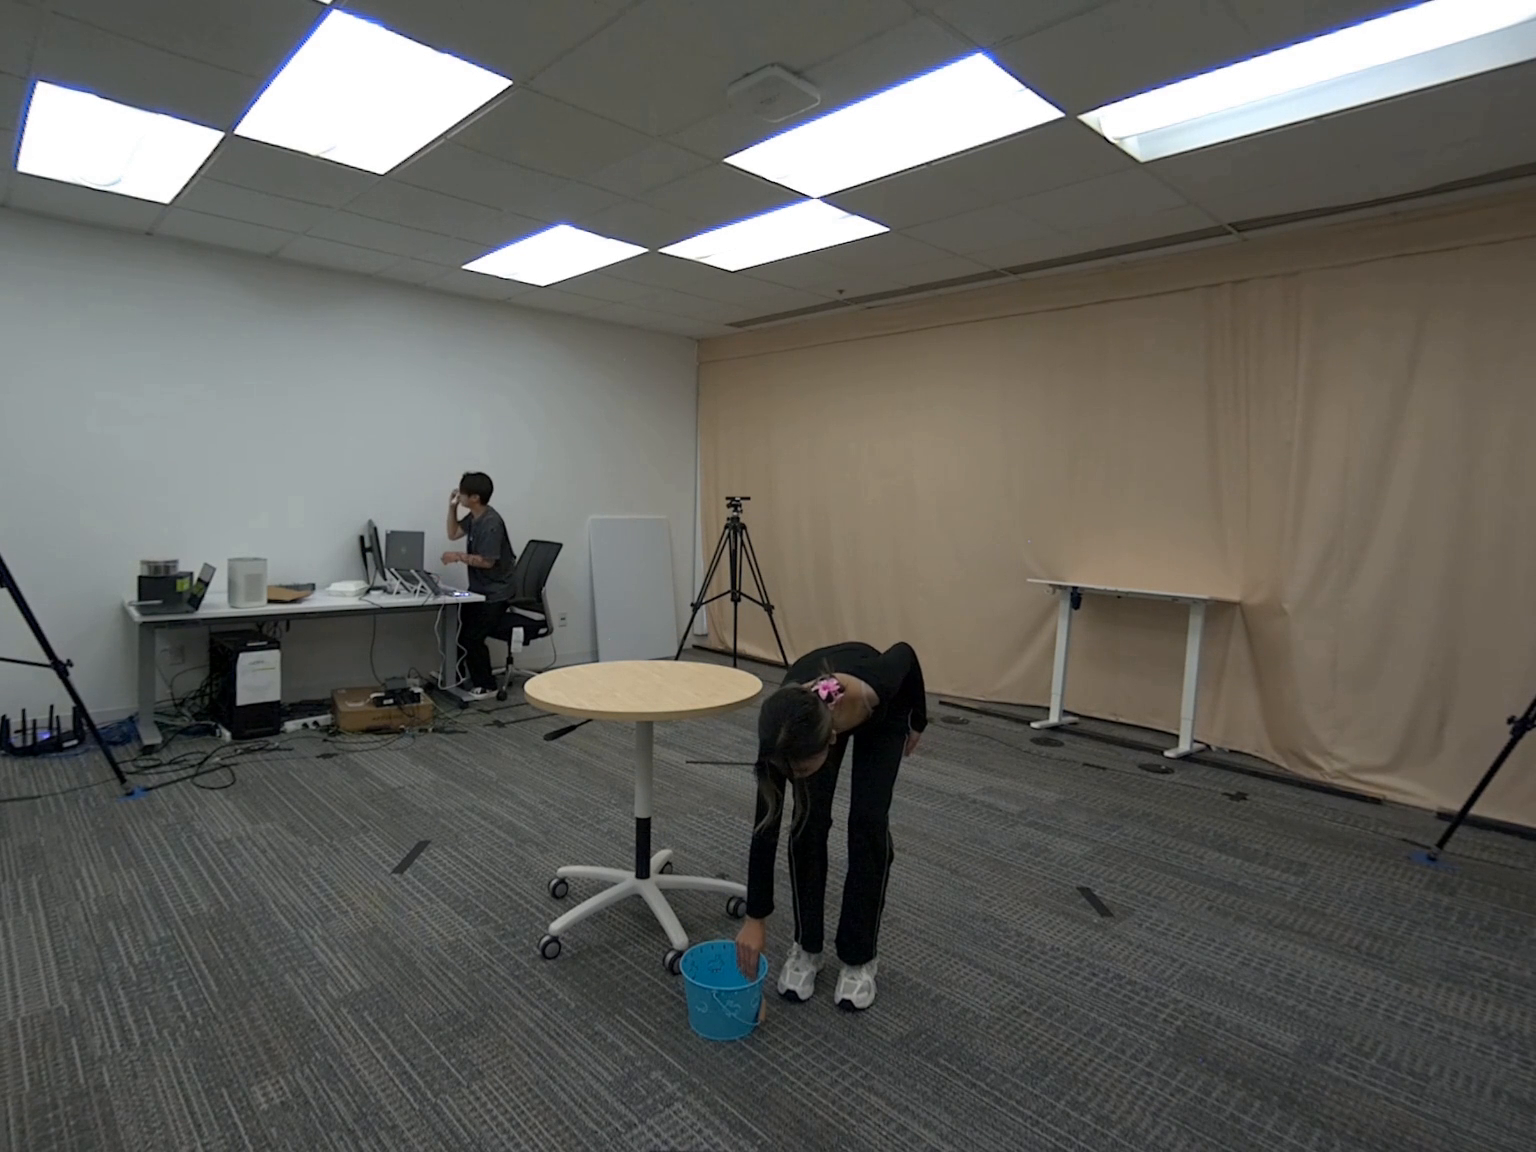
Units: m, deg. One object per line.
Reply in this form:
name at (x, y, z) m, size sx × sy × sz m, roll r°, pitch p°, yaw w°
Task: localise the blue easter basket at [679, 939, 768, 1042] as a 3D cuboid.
blue easter basket at (-0.122, 1.112, 2.238) m, size 0.243 × 0.155 × 0.244 m, roll 0°, pitch 5°, yaw -1°
